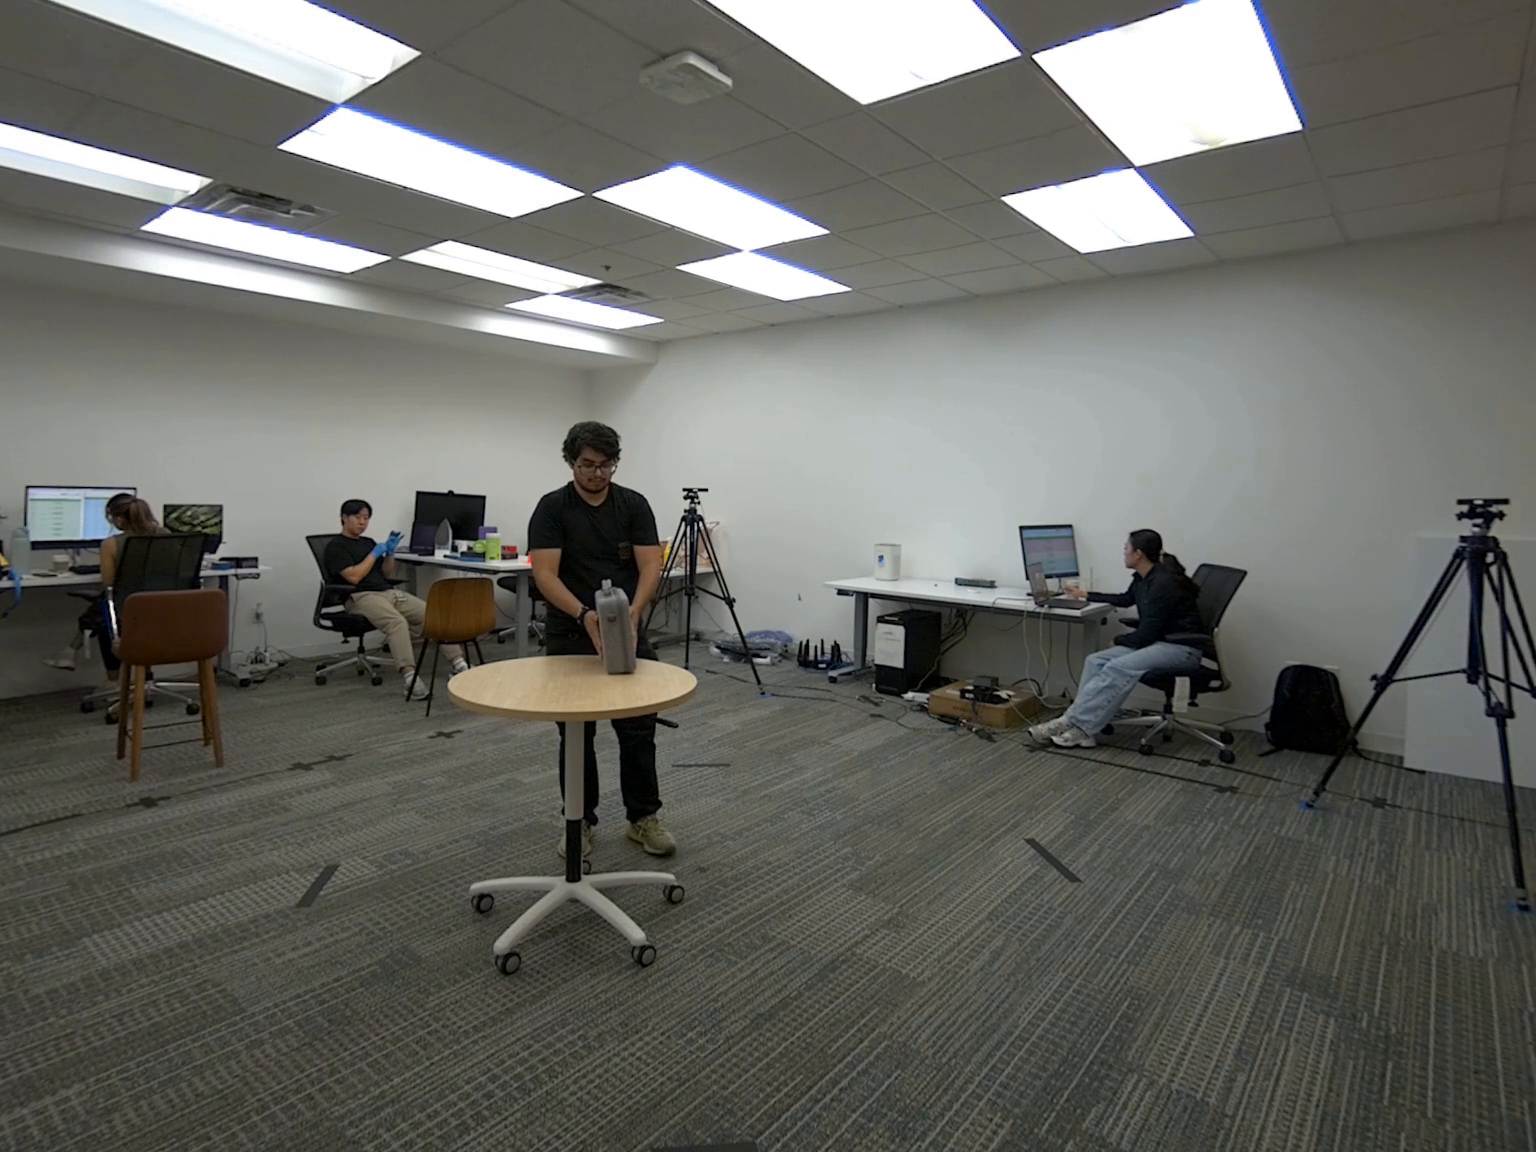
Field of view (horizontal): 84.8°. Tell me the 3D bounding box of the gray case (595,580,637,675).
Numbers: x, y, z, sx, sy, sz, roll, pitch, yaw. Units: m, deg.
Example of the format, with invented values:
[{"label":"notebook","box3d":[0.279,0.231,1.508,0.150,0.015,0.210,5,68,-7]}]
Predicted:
[{"label":"gray case","box3d":[-0.526,0.176,2.850,0.103,0.259,0.261,-6,7,-9]}]
